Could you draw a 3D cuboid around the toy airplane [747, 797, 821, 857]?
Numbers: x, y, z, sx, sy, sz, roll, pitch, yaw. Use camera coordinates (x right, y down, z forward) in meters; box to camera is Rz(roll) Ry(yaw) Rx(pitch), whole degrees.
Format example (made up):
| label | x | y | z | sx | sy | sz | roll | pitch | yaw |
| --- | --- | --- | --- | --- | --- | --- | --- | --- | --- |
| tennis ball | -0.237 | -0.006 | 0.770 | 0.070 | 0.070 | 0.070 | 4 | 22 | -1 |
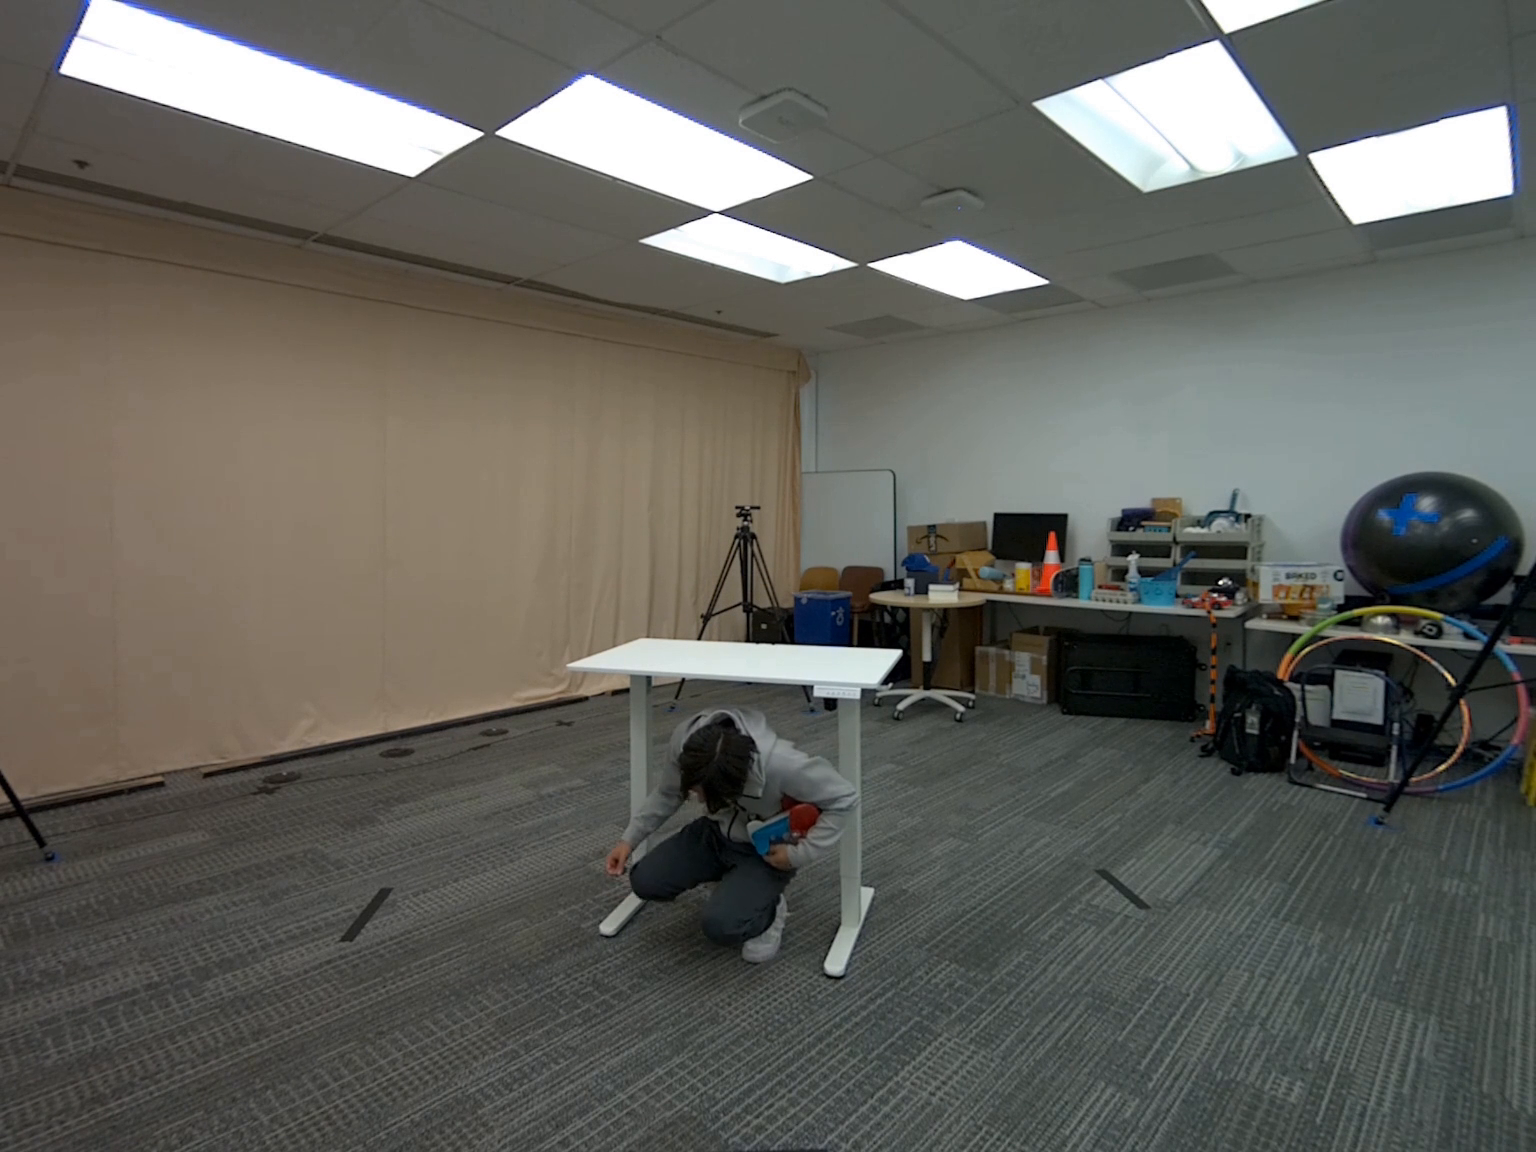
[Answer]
| label | x | y | z | sx | sy | sz | roll | pitch | yaw |
| --- | --- | --- | --- | --- | --- | --- | --- | --- | --- |
| toy airplane | 0.020 | 0.737 | 2.623 | 0.259 | 0.252 | 0.156 | 40 | 20 | 0 |
